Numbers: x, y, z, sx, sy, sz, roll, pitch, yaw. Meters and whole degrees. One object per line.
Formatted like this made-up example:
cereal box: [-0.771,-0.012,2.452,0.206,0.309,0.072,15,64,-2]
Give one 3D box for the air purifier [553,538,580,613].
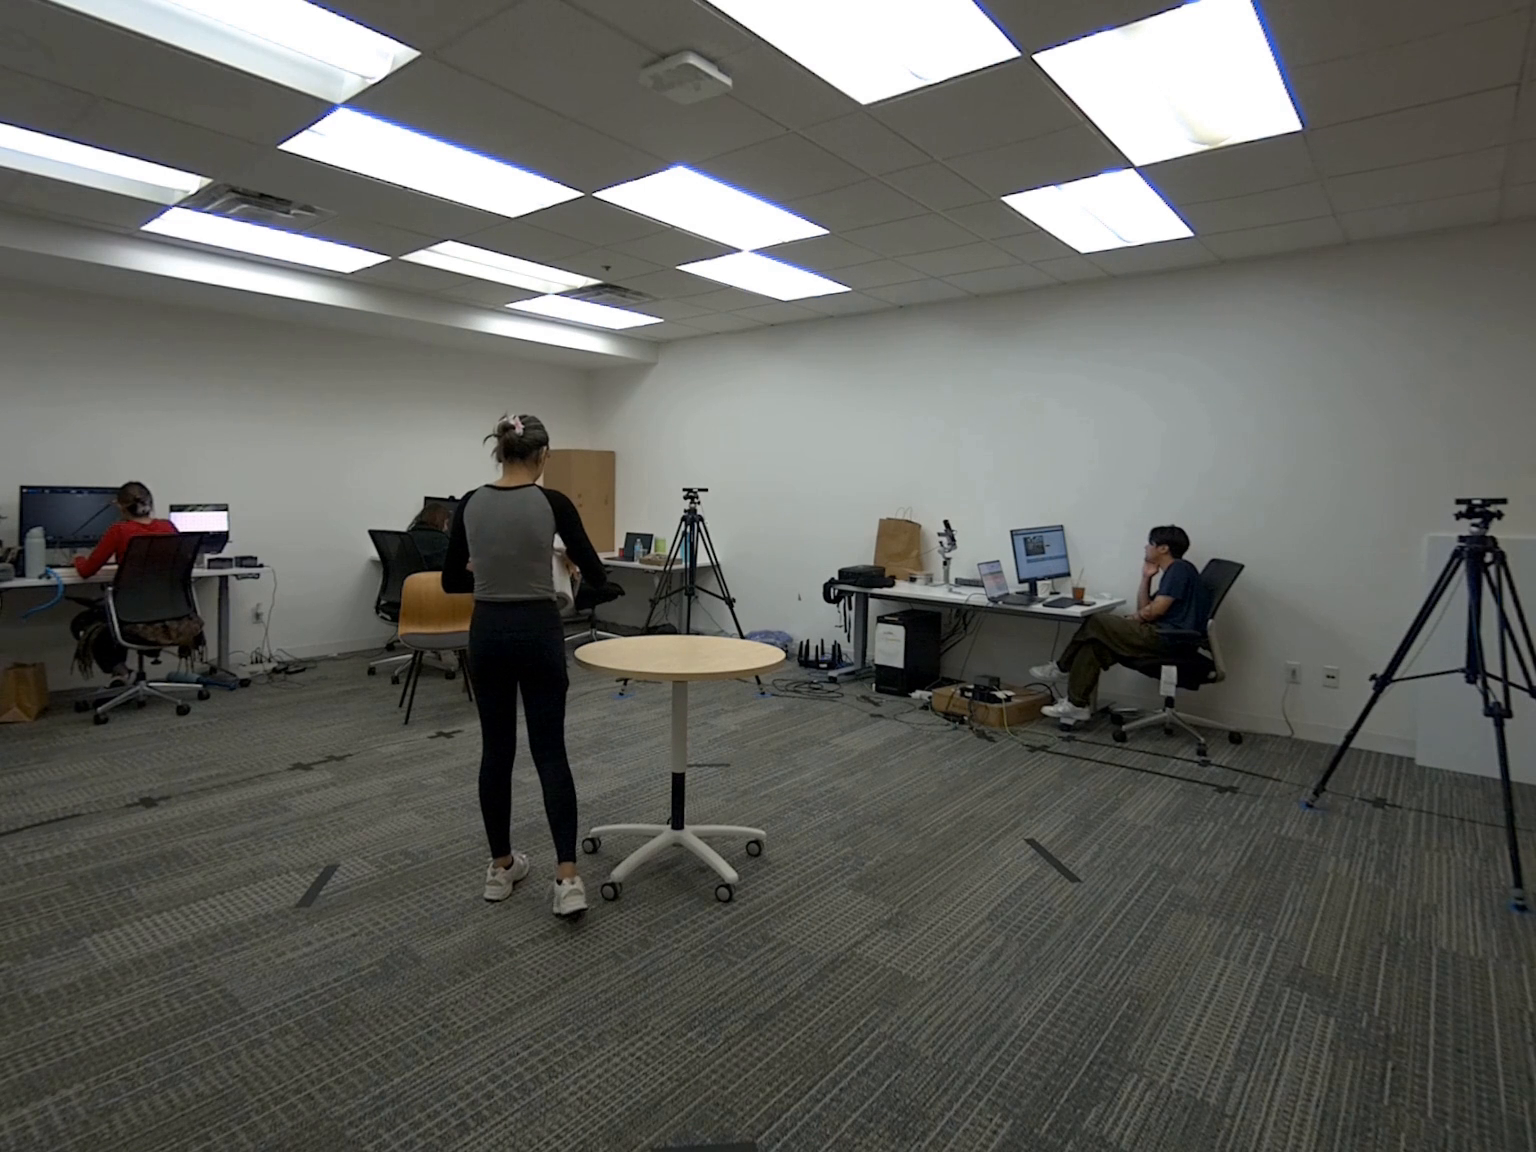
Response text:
air purifier: [-0.832,-0.013,3.136,0.171,0.273,0.167,-16,-26,-1]
